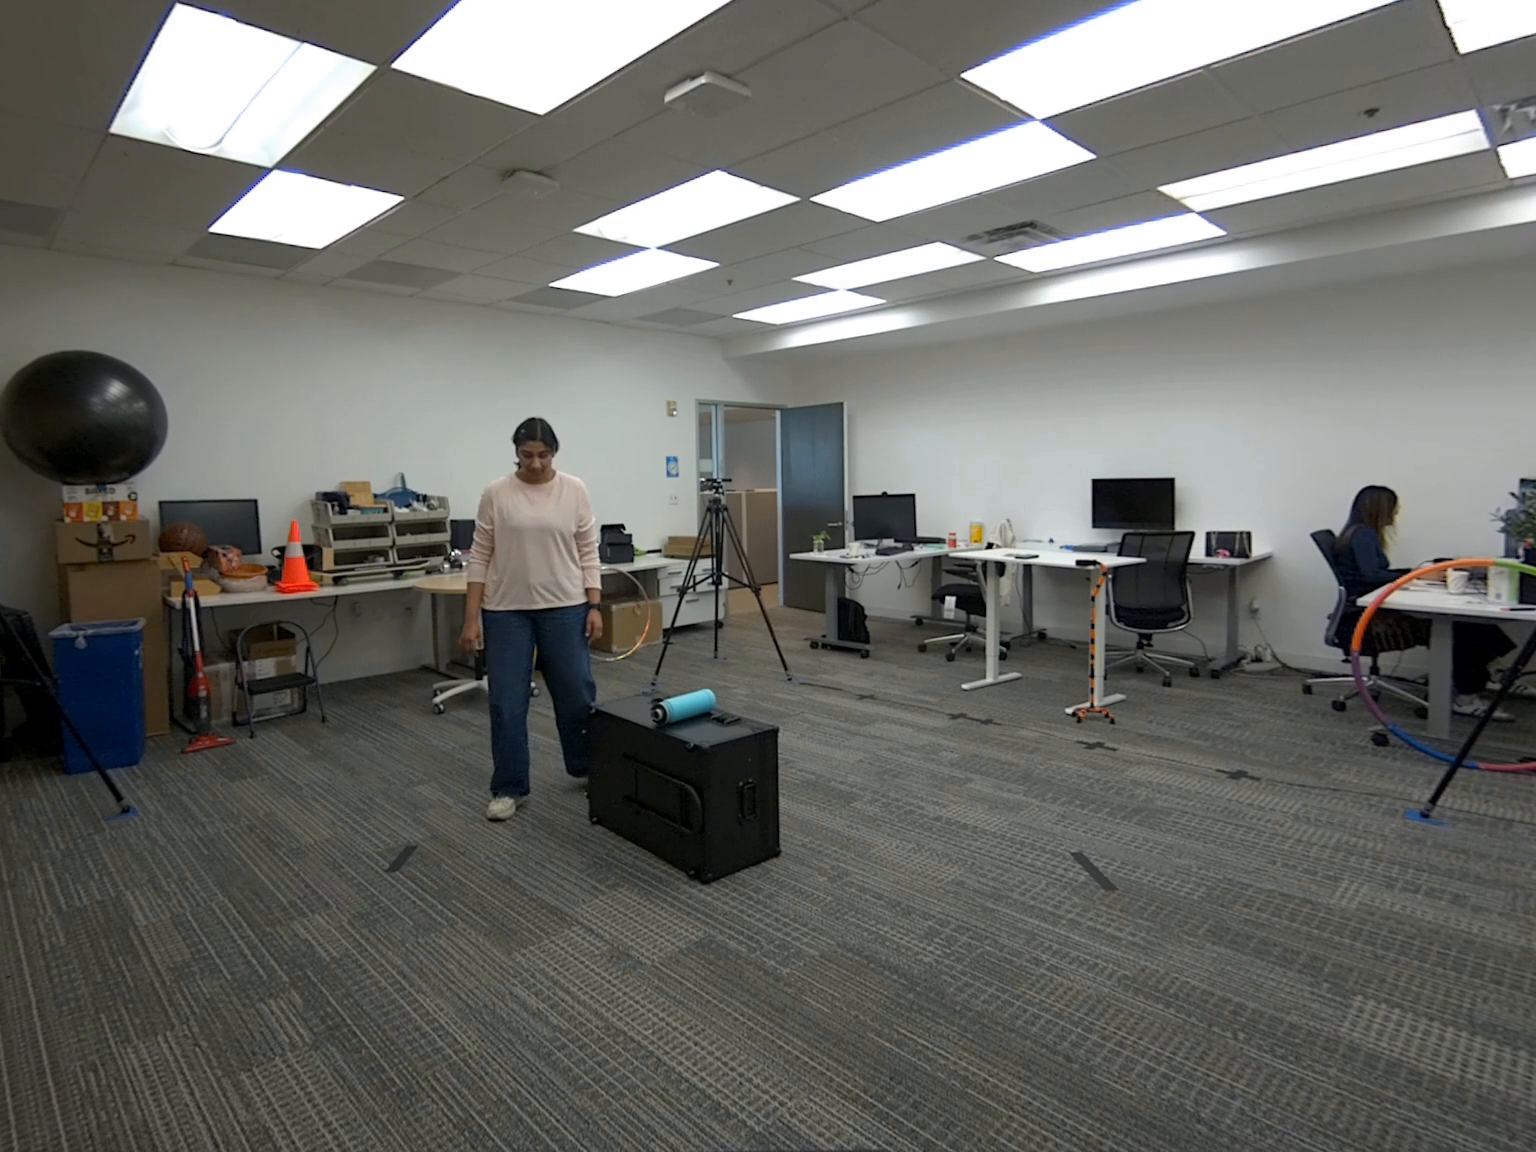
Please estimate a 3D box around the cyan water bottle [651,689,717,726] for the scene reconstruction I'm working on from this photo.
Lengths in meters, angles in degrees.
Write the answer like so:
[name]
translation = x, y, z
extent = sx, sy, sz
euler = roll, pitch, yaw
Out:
[cyan water bottle]
translation = -0.324, 0.500, 3.268
extent = 0.095, 0.092, 0.276
euler = 4, 9, 45
